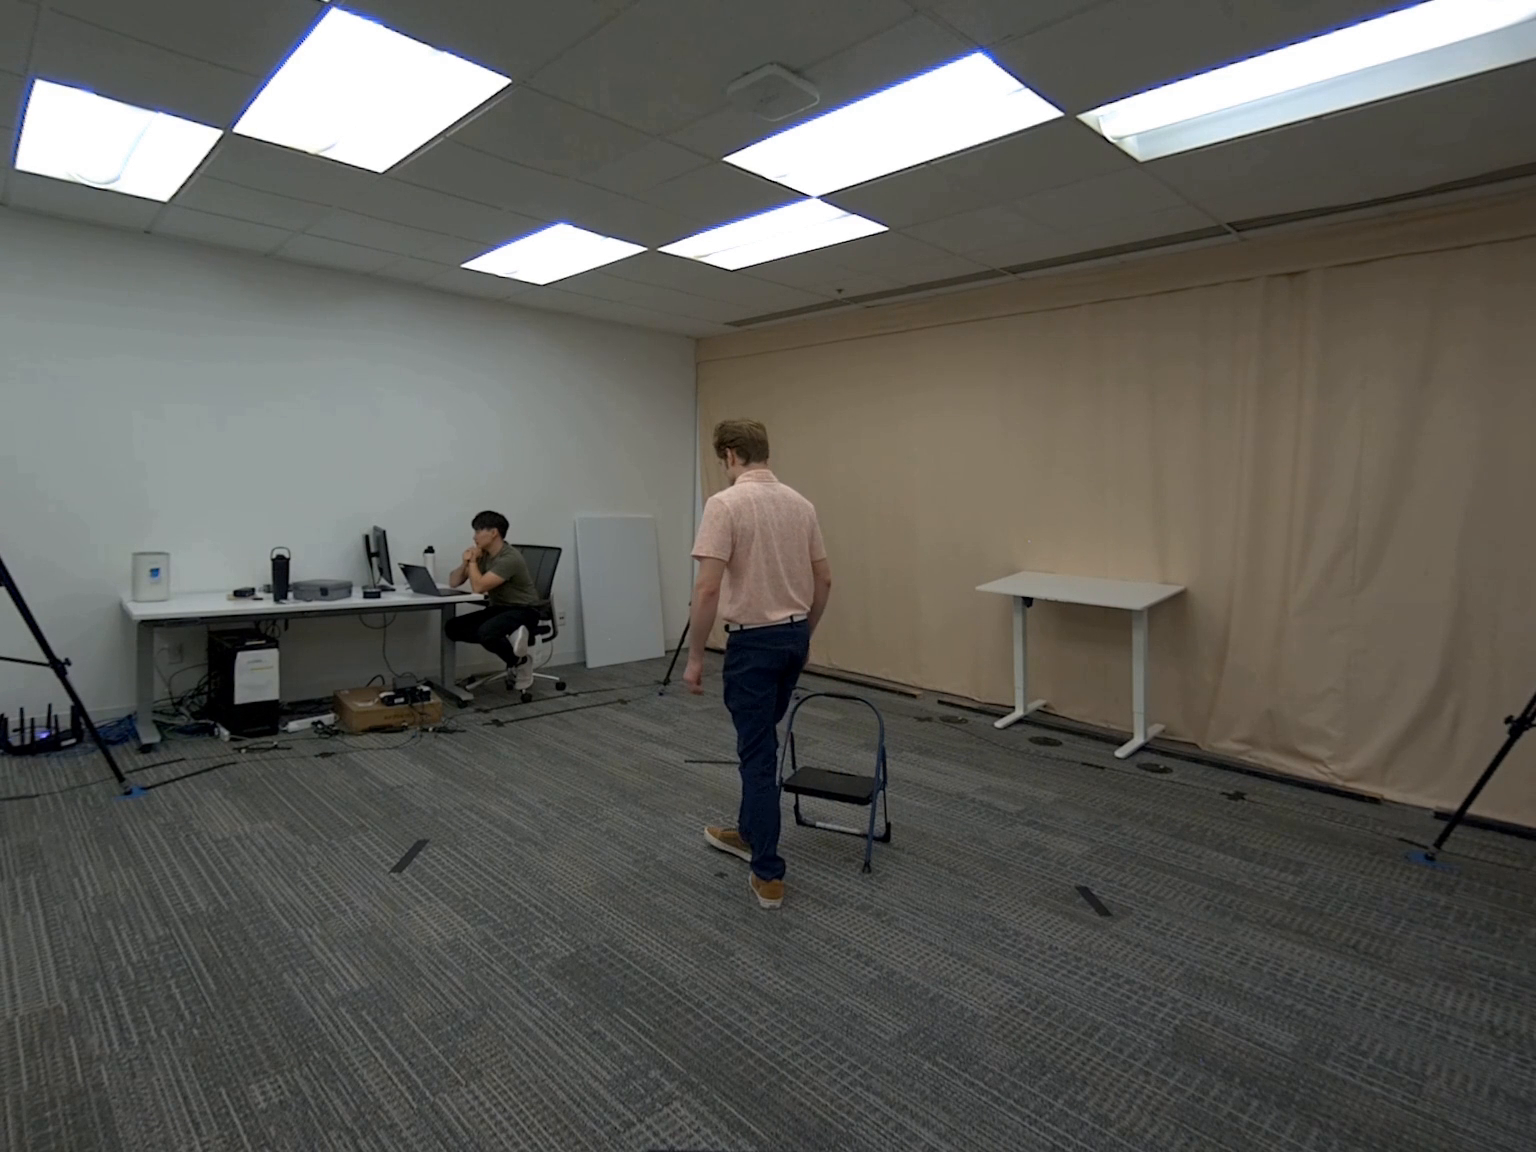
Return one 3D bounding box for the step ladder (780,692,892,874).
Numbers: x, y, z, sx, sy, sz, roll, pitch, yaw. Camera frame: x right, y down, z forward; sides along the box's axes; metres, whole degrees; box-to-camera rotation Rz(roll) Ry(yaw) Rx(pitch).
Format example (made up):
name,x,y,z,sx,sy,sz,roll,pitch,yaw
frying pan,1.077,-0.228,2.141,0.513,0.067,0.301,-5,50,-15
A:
name,x,y,z,sx,sy,sz,roll,pitch,yaw
step ladder,0.253,0.787,3.378,0.439,0.604,0.343,3,4,24
